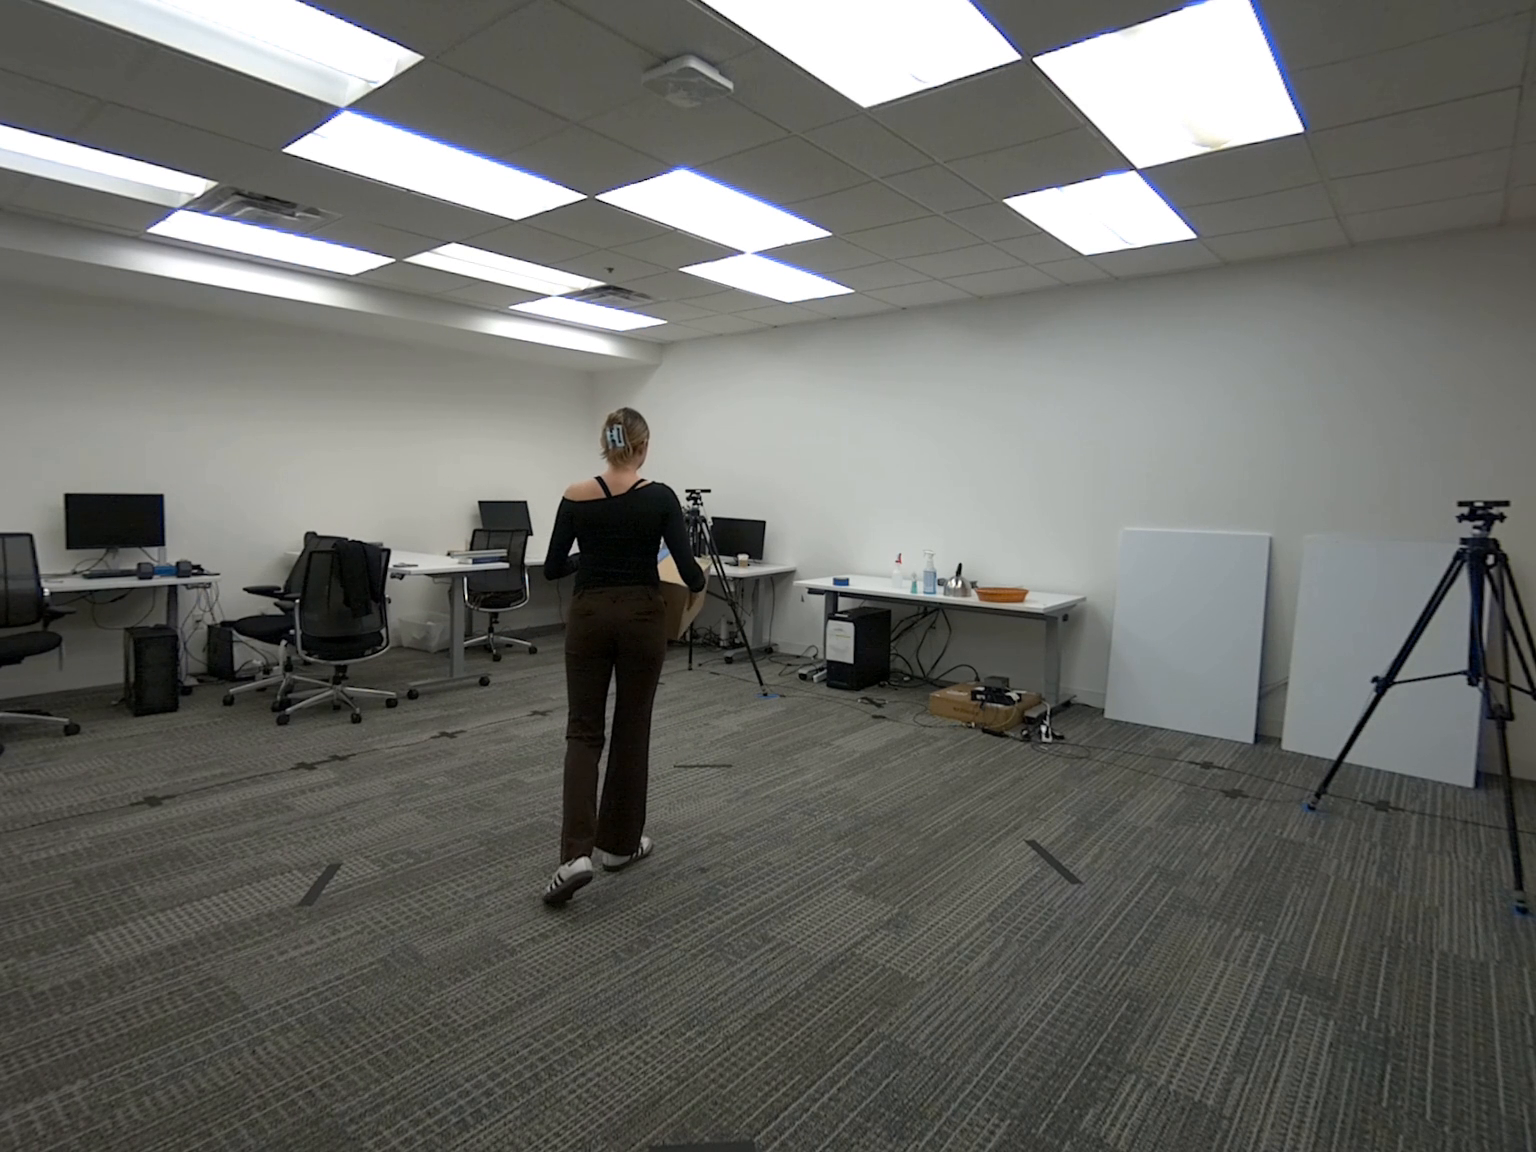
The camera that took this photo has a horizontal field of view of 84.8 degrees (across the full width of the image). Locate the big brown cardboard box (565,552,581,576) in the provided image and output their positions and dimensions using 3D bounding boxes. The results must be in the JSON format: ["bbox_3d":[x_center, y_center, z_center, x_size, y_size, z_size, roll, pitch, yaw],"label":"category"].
[{"bbox_3d":[-0.516,0.038,3.482,0.420,0.231,0.590,12,11,3],"label":"big brown cardboard box"}]
